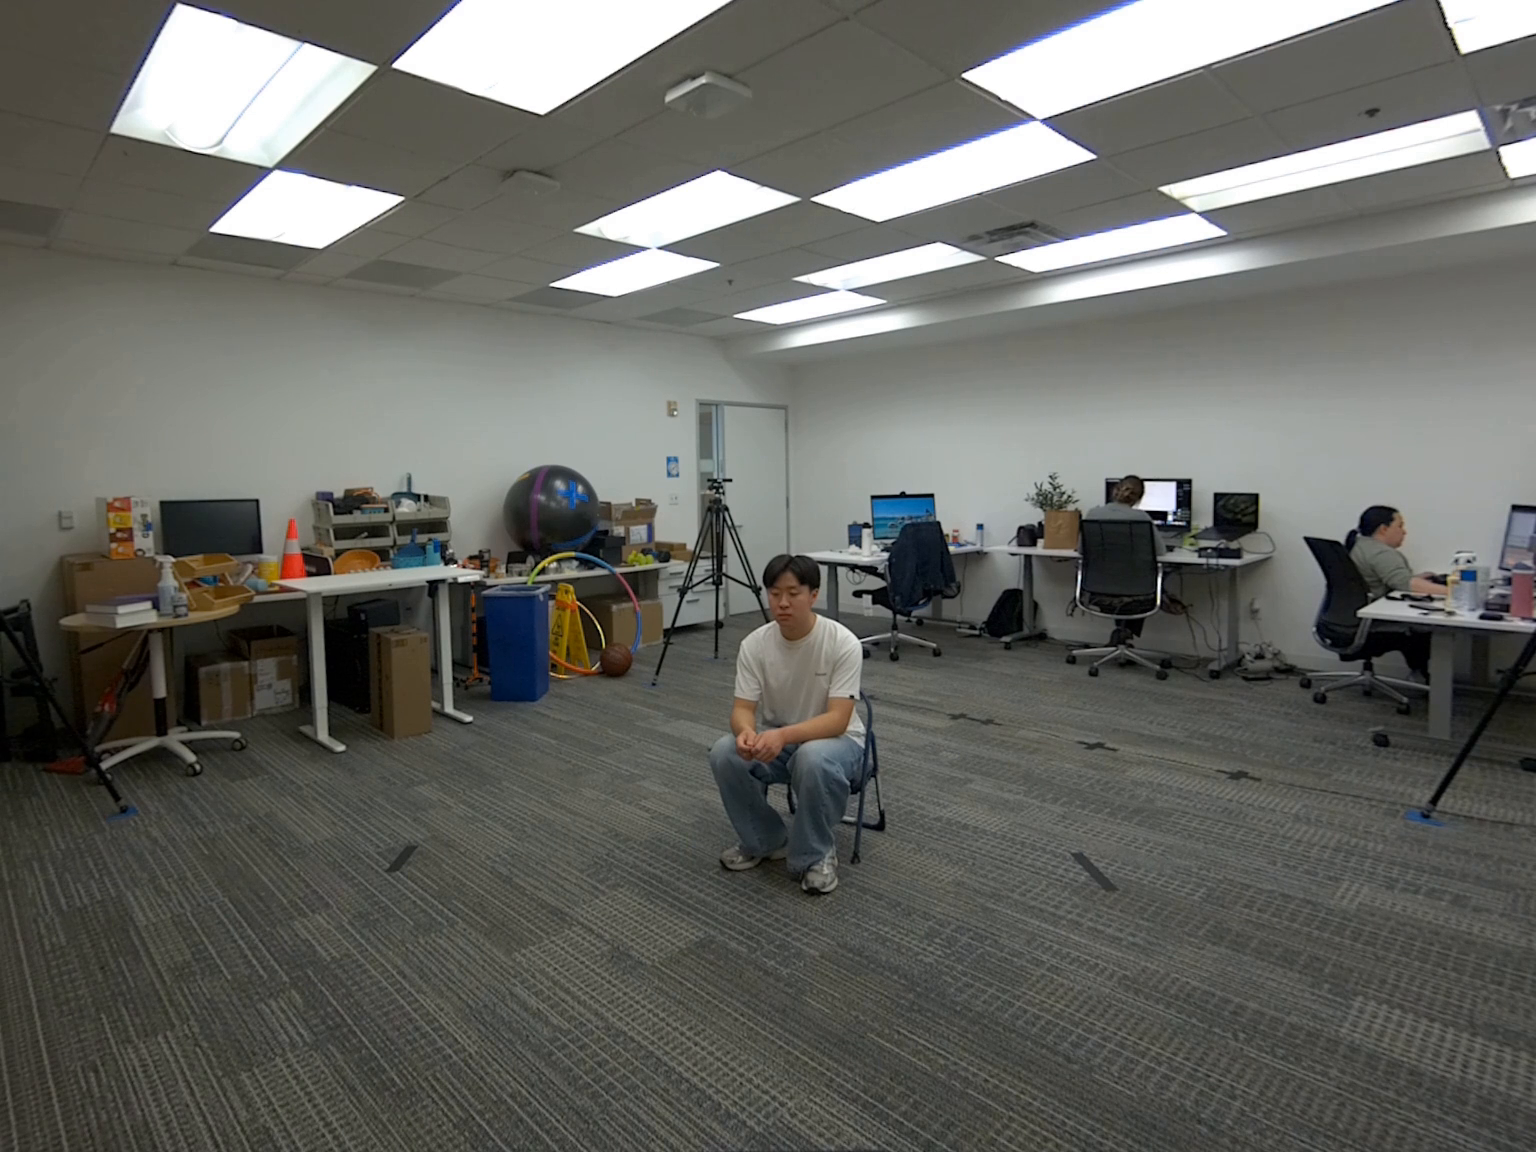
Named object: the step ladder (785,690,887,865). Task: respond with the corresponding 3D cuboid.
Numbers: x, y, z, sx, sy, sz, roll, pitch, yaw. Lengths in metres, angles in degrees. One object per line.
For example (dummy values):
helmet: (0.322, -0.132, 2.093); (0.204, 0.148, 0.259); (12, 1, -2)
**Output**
step ladder: (0.214, 0.717, 3.327); (0.442, 0.604, 0.342); (2, 5, 28)
